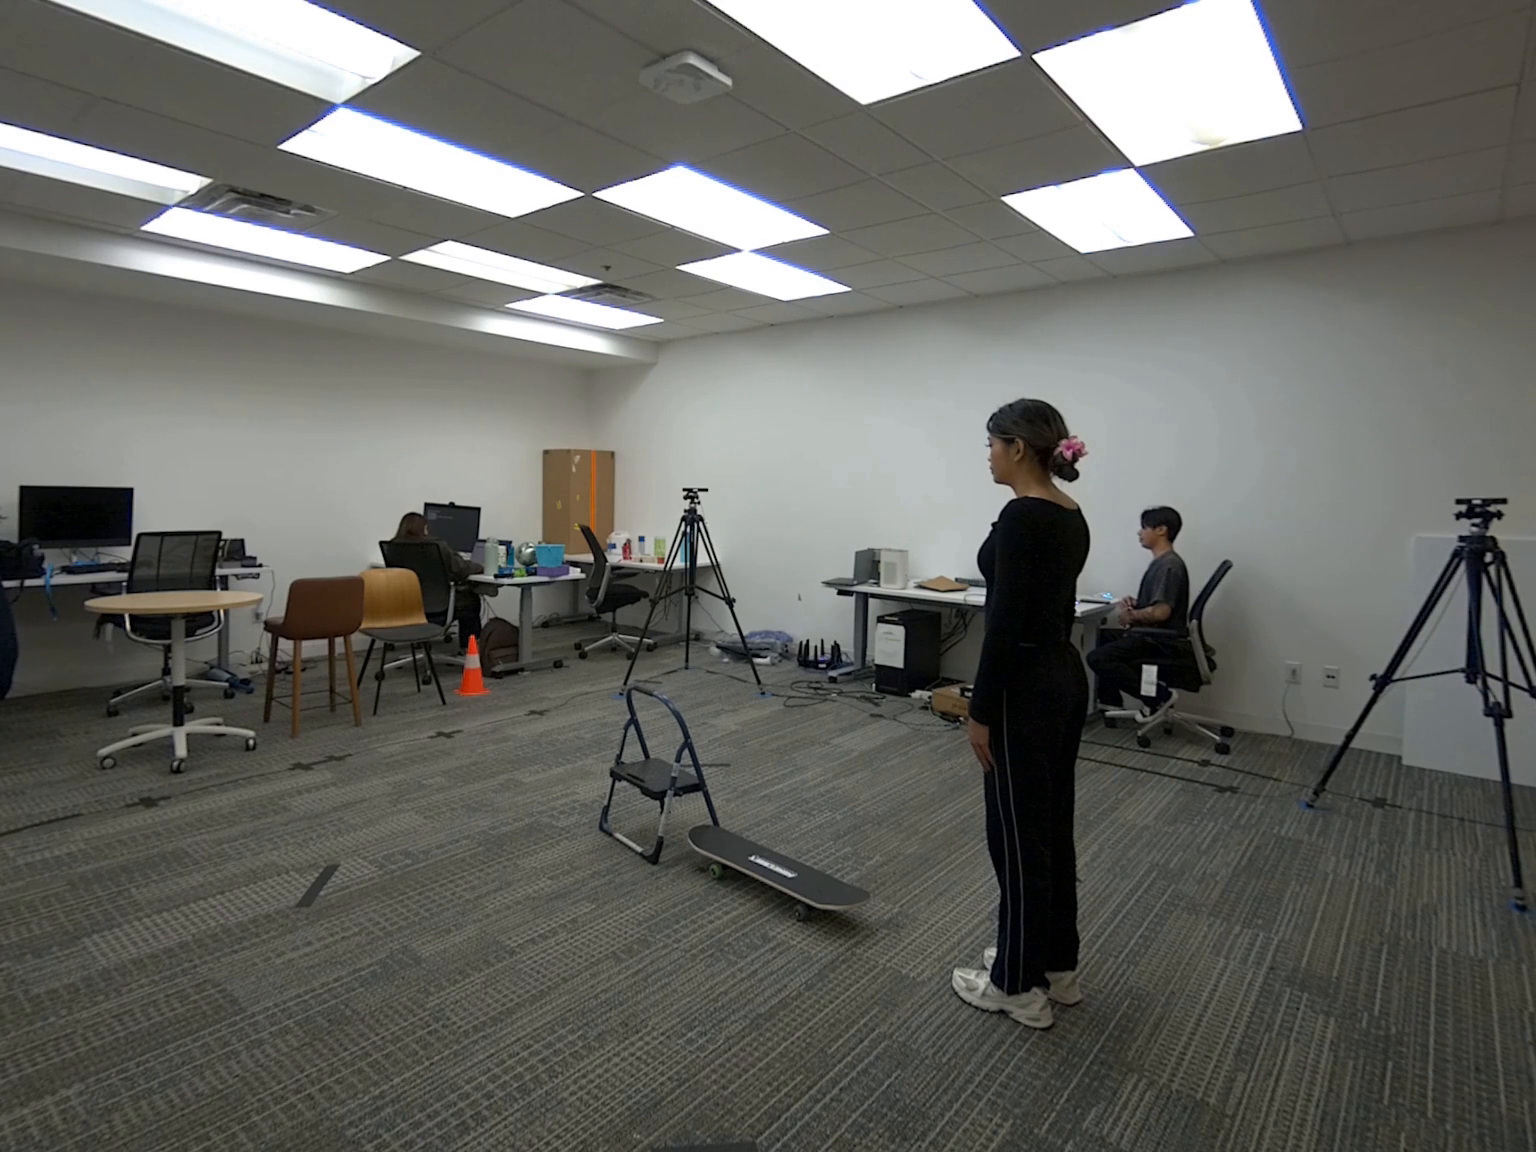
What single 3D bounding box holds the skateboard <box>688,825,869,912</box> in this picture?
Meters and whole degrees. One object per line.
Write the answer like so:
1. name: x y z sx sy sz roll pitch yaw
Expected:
1. skateboard: 0.010 1.035 2.947 0.813 0.110 0.188 6 8 44
